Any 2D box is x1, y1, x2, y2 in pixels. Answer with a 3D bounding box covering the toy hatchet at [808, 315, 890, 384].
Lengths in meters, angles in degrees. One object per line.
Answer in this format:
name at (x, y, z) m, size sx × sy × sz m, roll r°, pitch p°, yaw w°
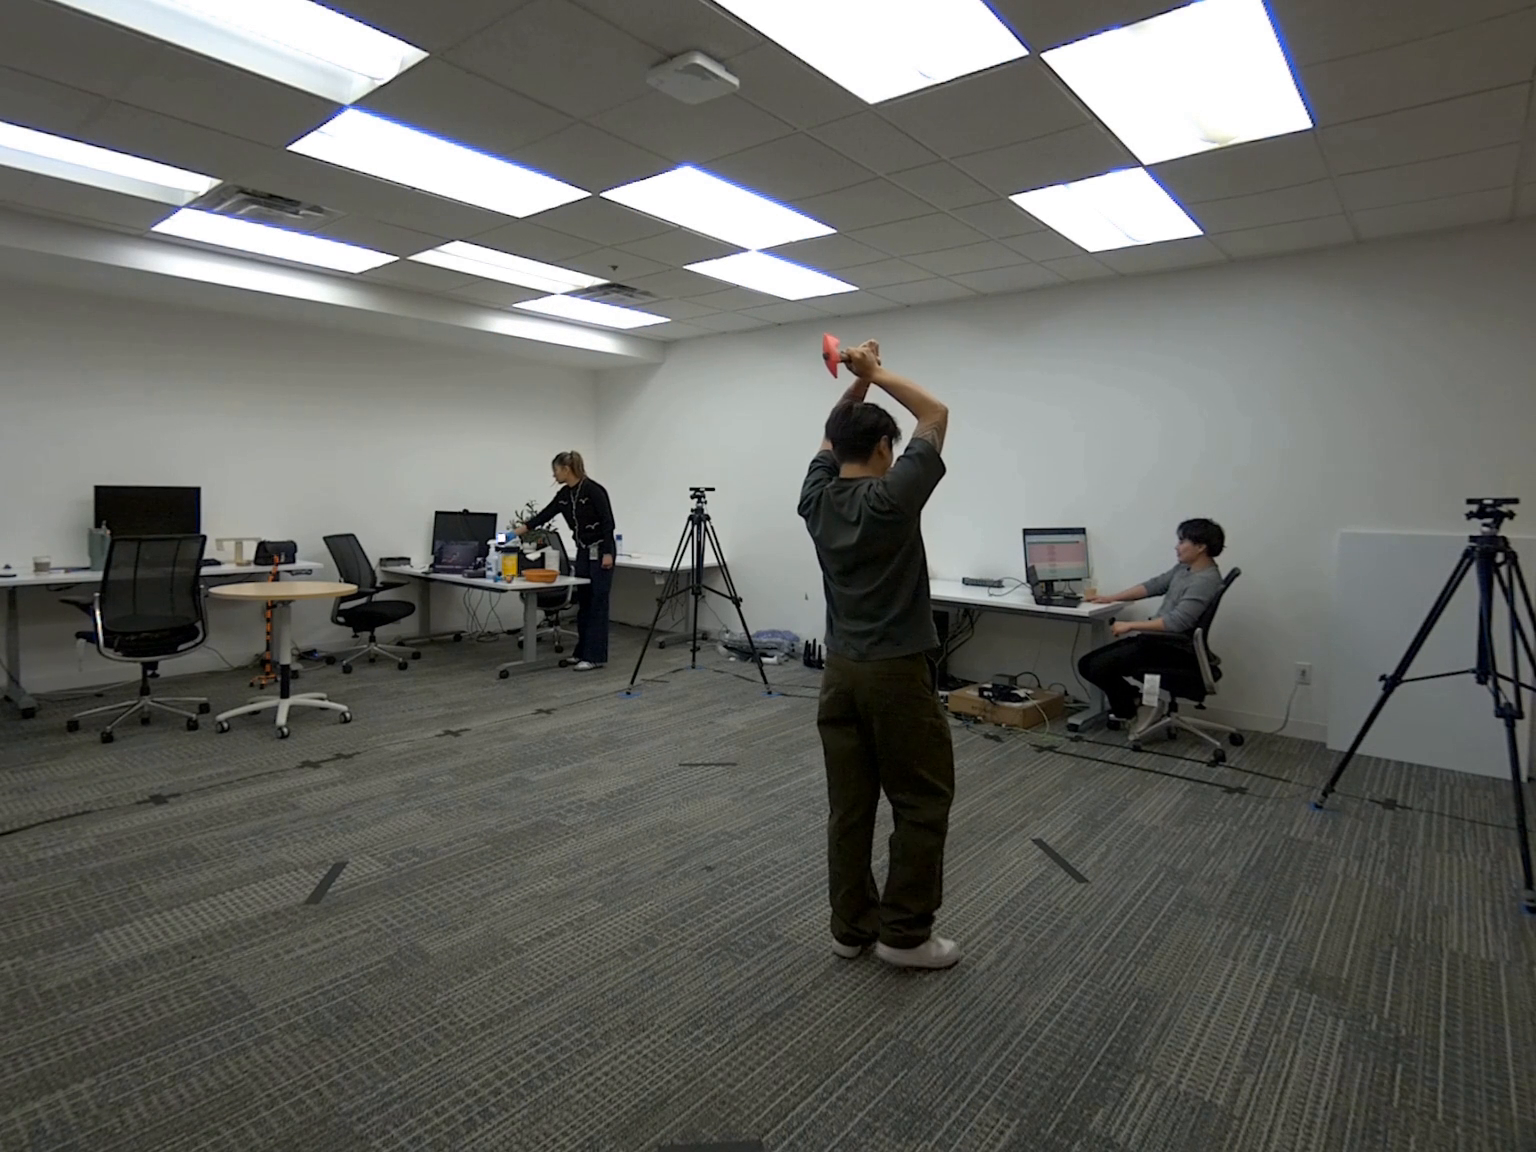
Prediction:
toy hatchet at (0.247, -0.688, 2.541) m, size 0.267 × 0.130 × 0.030 m, roll -33°, pitch 4°, yaw -36°
